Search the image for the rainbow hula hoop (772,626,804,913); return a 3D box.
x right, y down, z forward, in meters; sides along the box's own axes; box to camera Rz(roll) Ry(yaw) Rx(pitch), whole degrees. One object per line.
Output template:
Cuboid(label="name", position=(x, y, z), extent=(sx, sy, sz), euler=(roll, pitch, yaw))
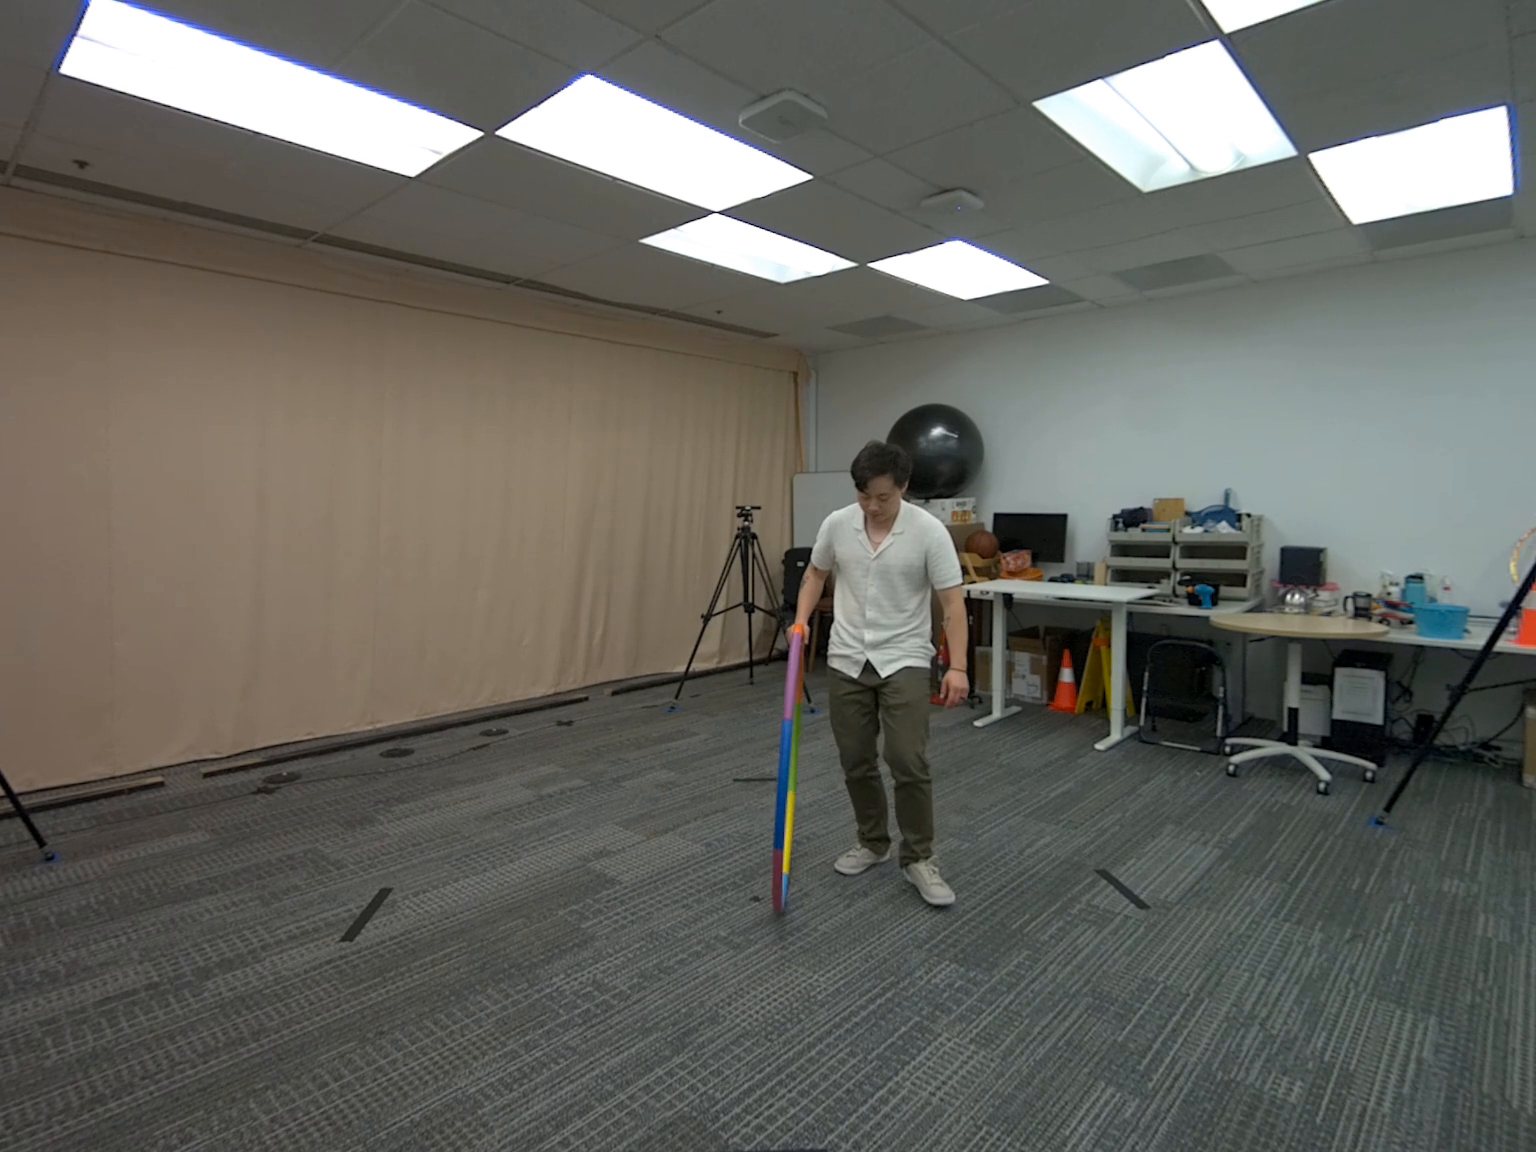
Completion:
Cuboid(label="rainbow hula hoop", position=(0.077, 0.663, 2.954), extent=(0.036, 0.976, 0.975), euler=(4, 4, 3))
